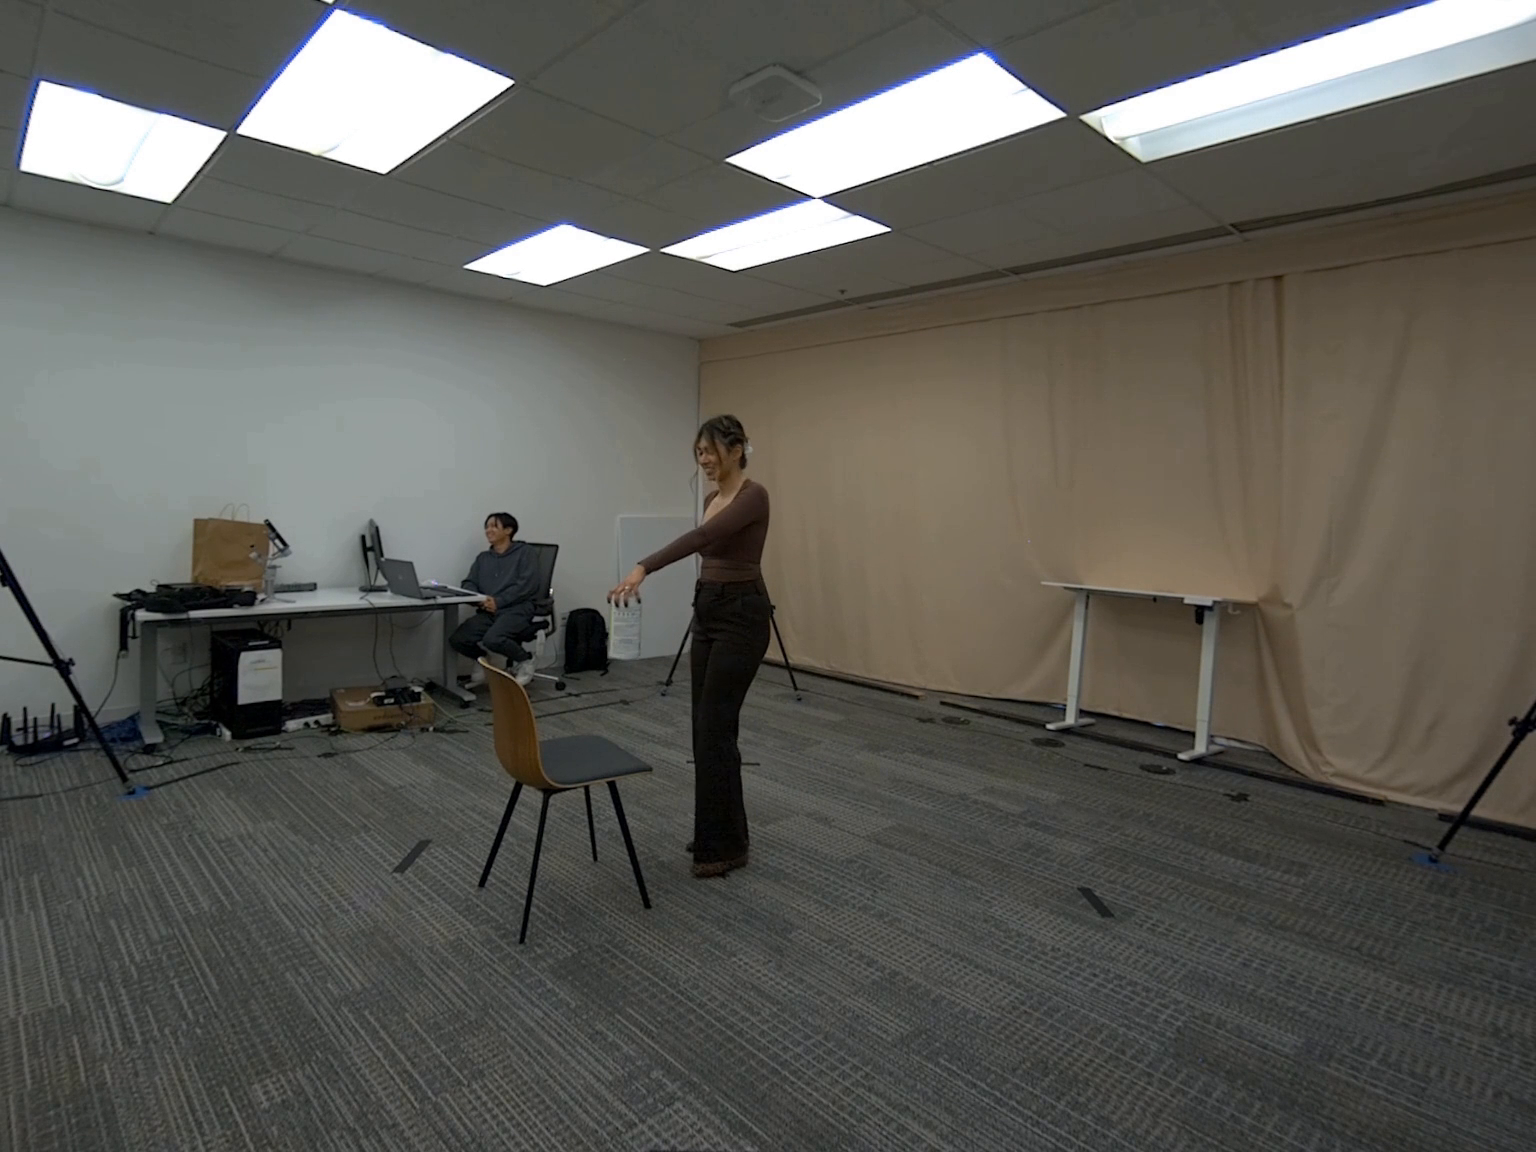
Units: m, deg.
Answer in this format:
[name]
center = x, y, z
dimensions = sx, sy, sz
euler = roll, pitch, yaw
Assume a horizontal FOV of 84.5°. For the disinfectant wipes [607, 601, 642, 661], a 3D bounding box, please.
[disinfectant wipes]
center = -0.492, 0.173, 2.867
dimensions = 0.117, 0.216, 0.118
euler = 3, 6, -2
